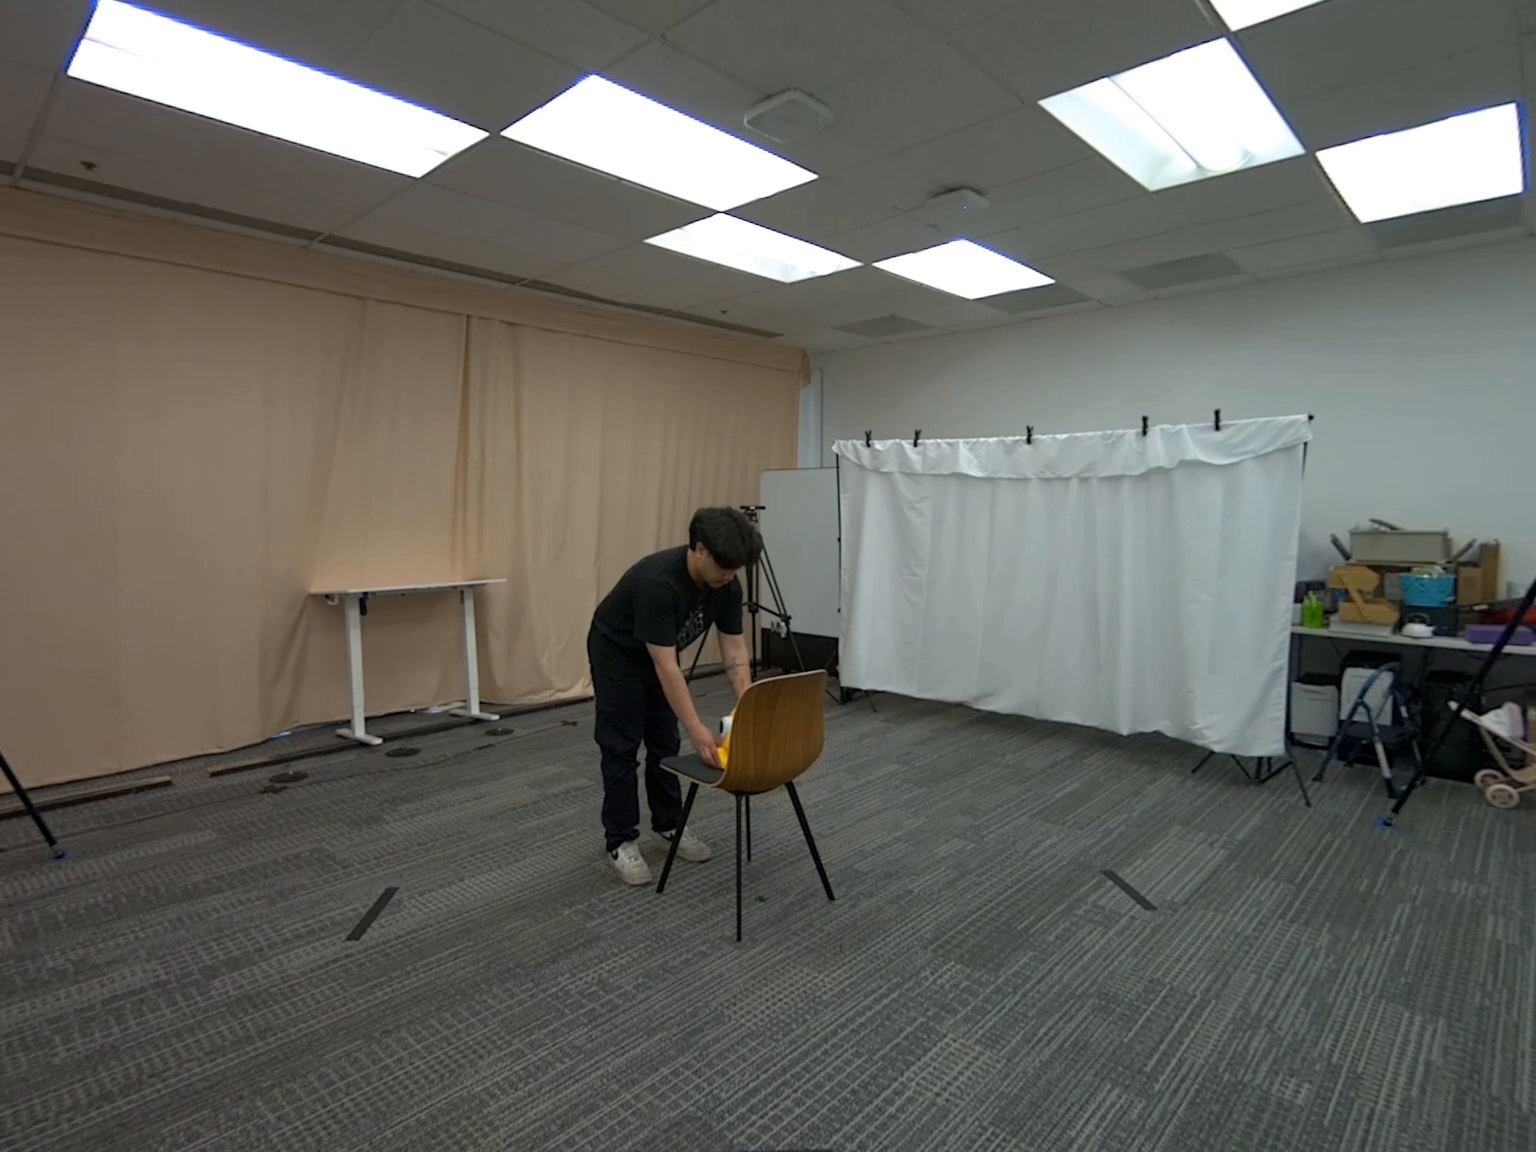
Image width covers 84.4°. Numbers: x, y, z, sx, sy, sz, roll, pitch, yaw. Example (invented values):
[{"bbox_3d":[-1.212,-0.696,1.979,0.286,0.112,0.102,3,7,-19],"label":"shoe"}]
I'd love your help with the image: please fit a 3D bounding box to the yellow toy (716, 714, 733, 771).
[{"bbox_3d":[-0.106,0.546,2.981,0.198,0.230,0.199,-4,6,-44],"label":"yellow toy"}]
